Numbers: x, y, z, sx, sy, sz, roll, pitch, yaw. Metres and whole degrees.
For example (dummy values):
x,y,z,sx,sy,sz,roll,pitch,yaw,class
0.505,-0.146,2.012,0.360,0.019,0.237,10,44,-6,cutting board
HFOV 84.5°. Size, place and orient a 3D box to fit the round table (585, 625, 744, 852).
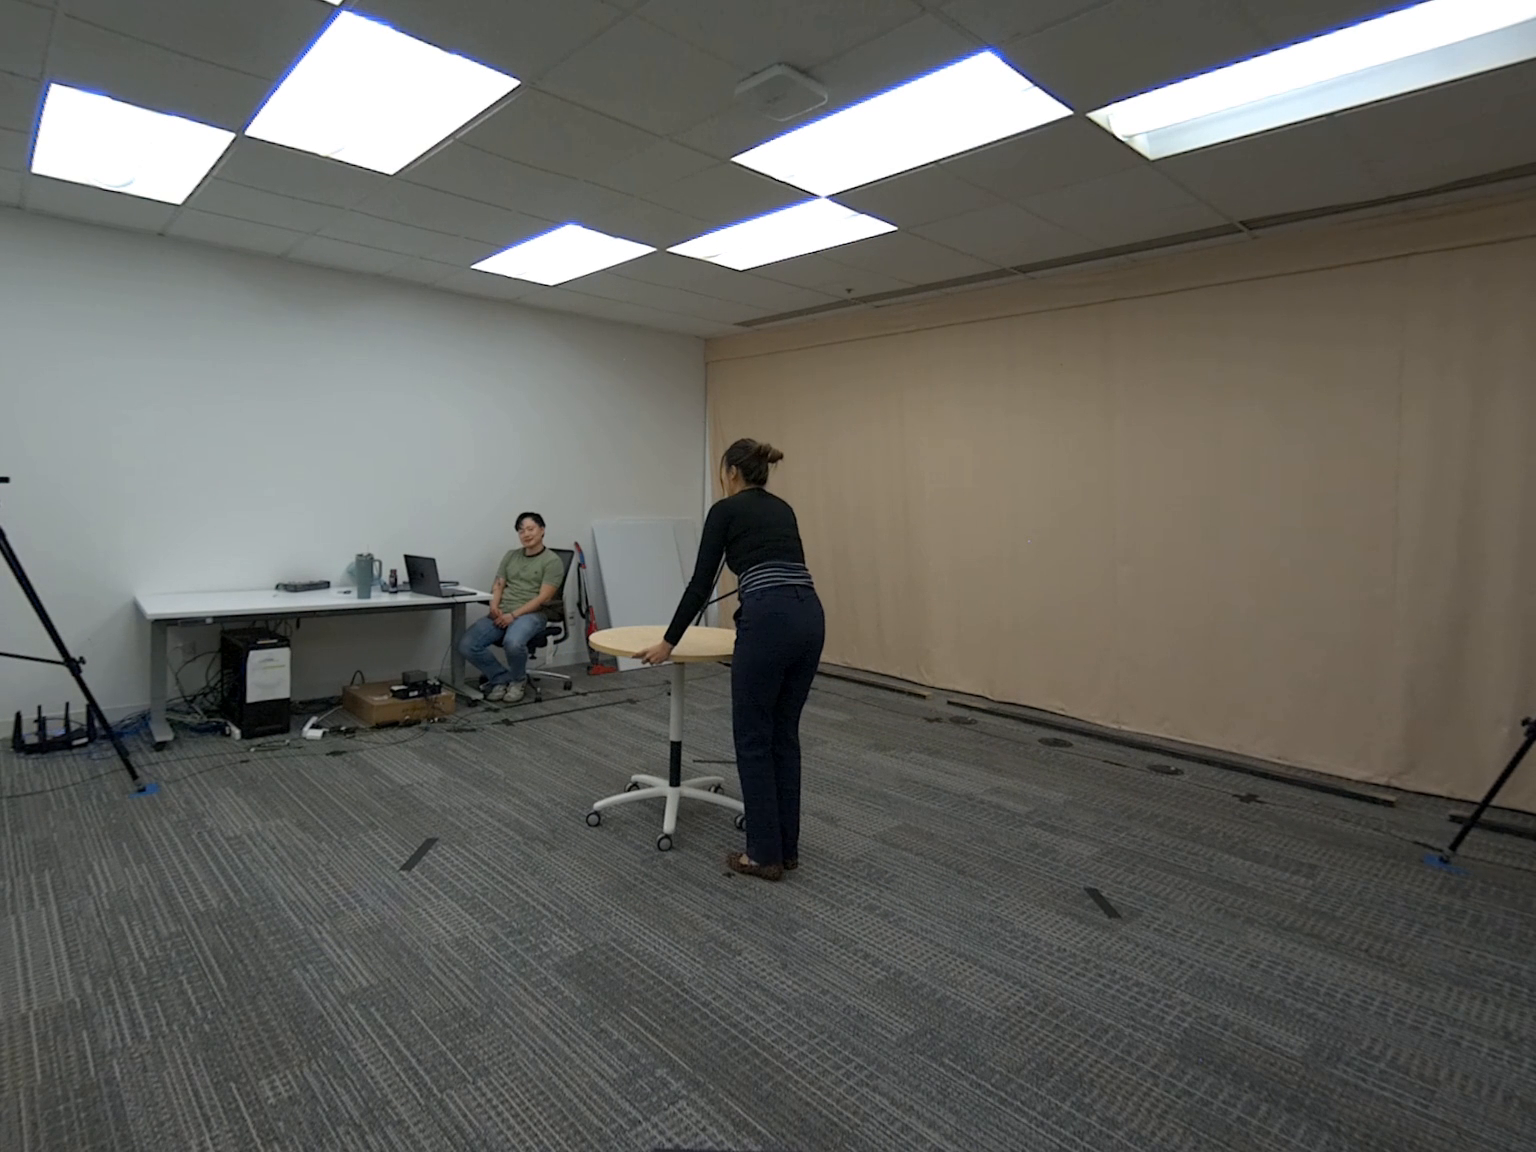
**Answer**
x,y,z,sx,sy,sz,roll,pitch,yaw,class
-0.408,0.662,3.626,0.763,0.792,0.766,2,3,-1,round table
